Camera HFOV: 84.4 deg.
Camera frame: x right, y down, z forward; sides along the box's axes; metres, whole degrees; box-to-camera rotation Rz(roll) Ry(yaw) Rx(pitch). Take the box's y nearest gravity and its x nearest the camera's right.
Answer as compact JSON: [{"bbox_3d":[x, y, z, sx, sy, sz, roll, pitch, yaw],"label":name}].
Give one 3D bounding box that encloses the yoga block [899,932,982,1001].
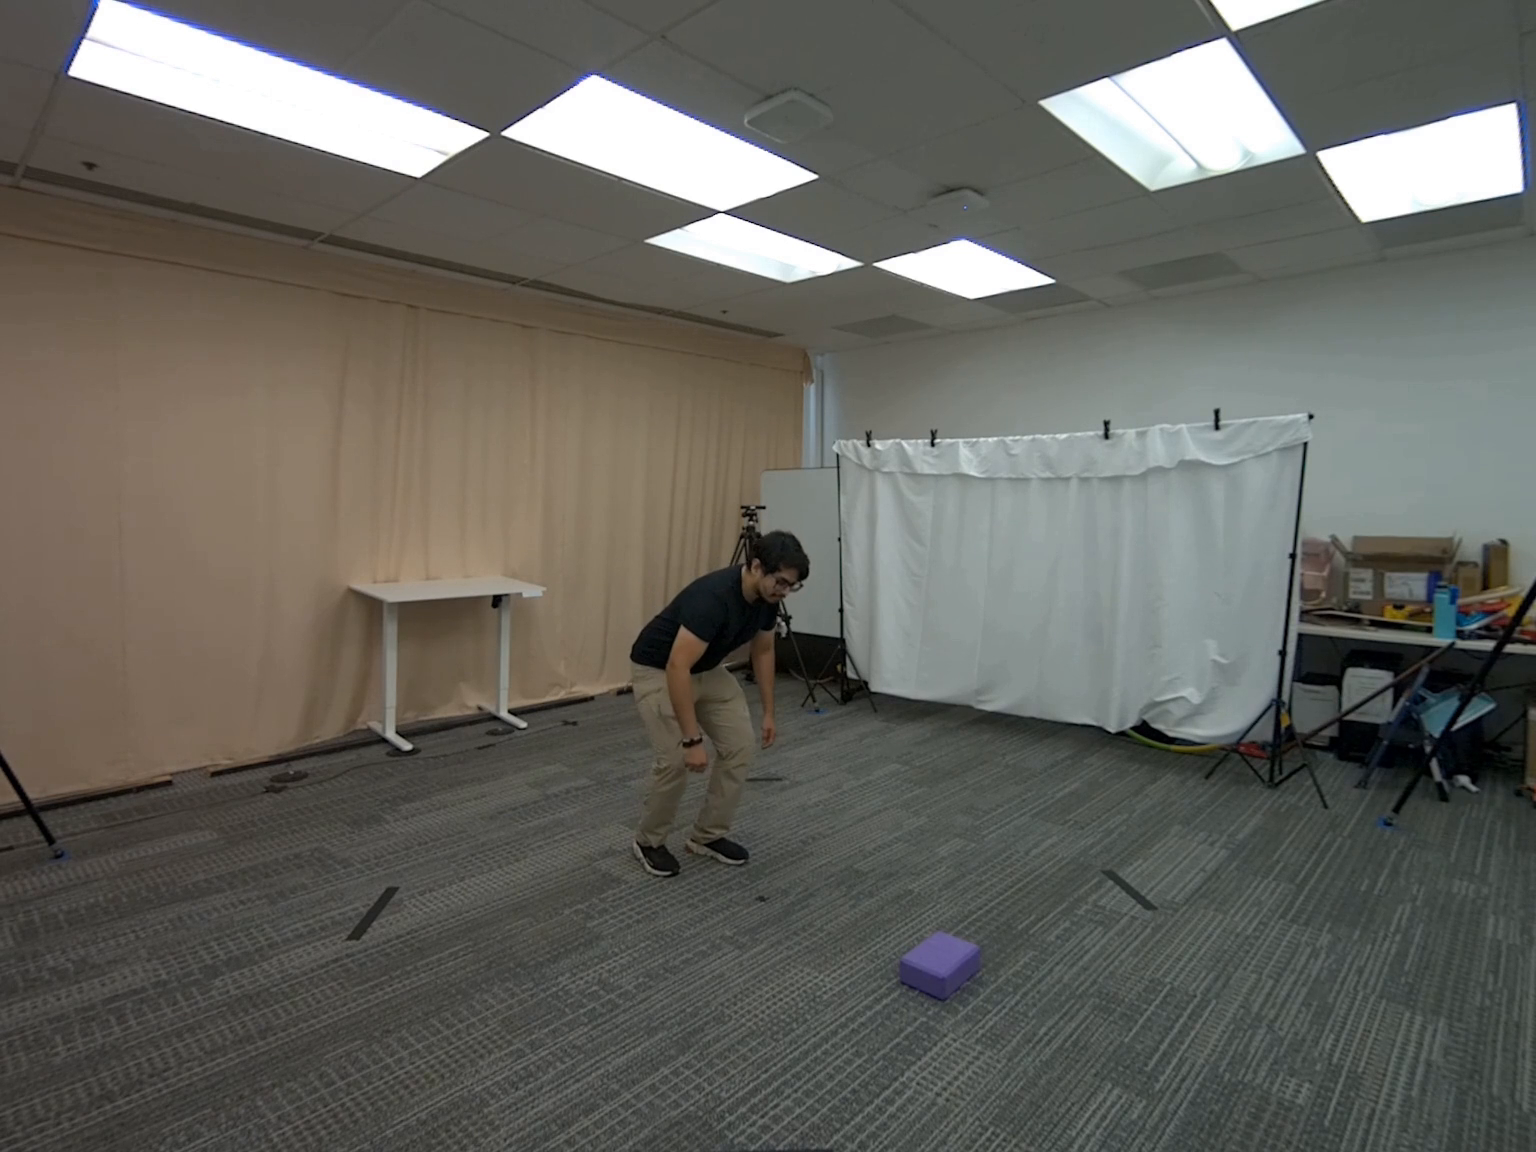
[{"bbox_3d":[0.516,1.146,2.483,0.154,0.076,0.222,4,6,42],"label":"yoga block"}]
